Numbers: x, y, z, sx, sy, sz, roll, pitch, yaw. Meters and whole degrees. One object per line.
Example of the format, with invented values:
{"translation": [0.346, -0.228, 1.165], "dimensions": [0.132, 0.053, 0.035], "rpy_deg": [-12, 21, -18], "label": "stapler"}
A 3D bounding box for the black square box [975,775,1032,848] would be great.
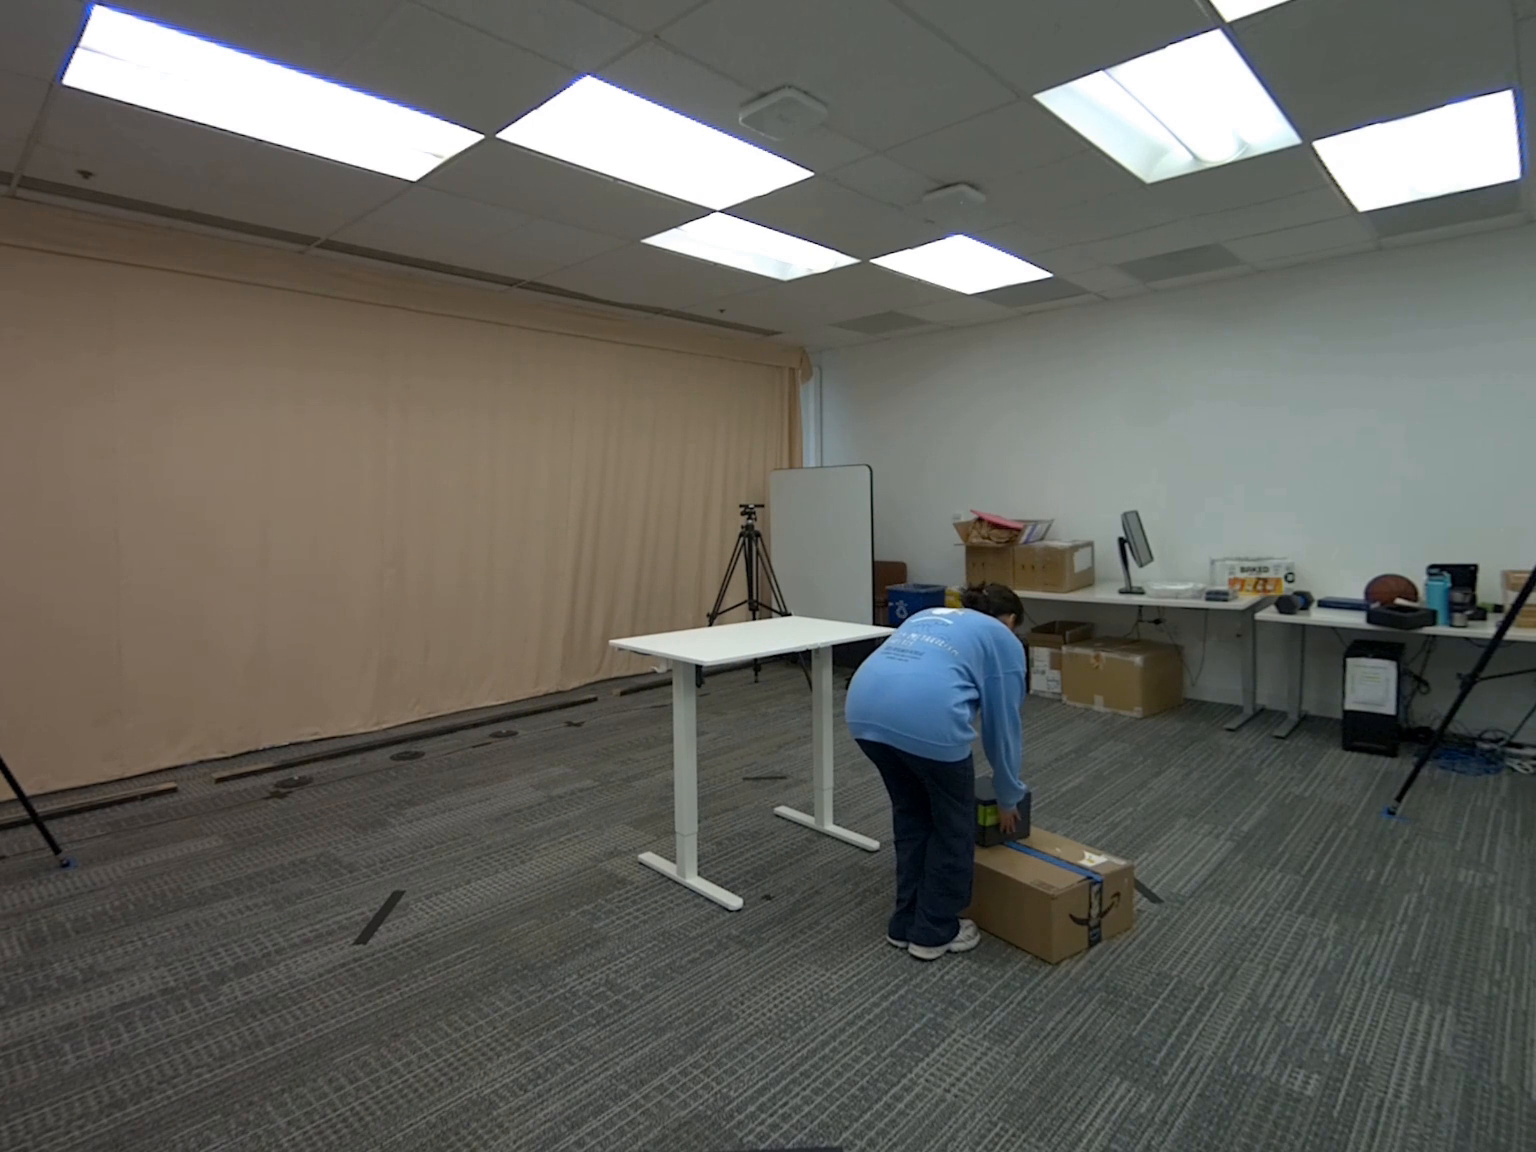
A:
{"translation": [0.772, 0.815, 2.967], "dimensions": [0.221, 0.156, 0.223], "rpy_deg": [0, 3, -31], "label": "black square box"}
